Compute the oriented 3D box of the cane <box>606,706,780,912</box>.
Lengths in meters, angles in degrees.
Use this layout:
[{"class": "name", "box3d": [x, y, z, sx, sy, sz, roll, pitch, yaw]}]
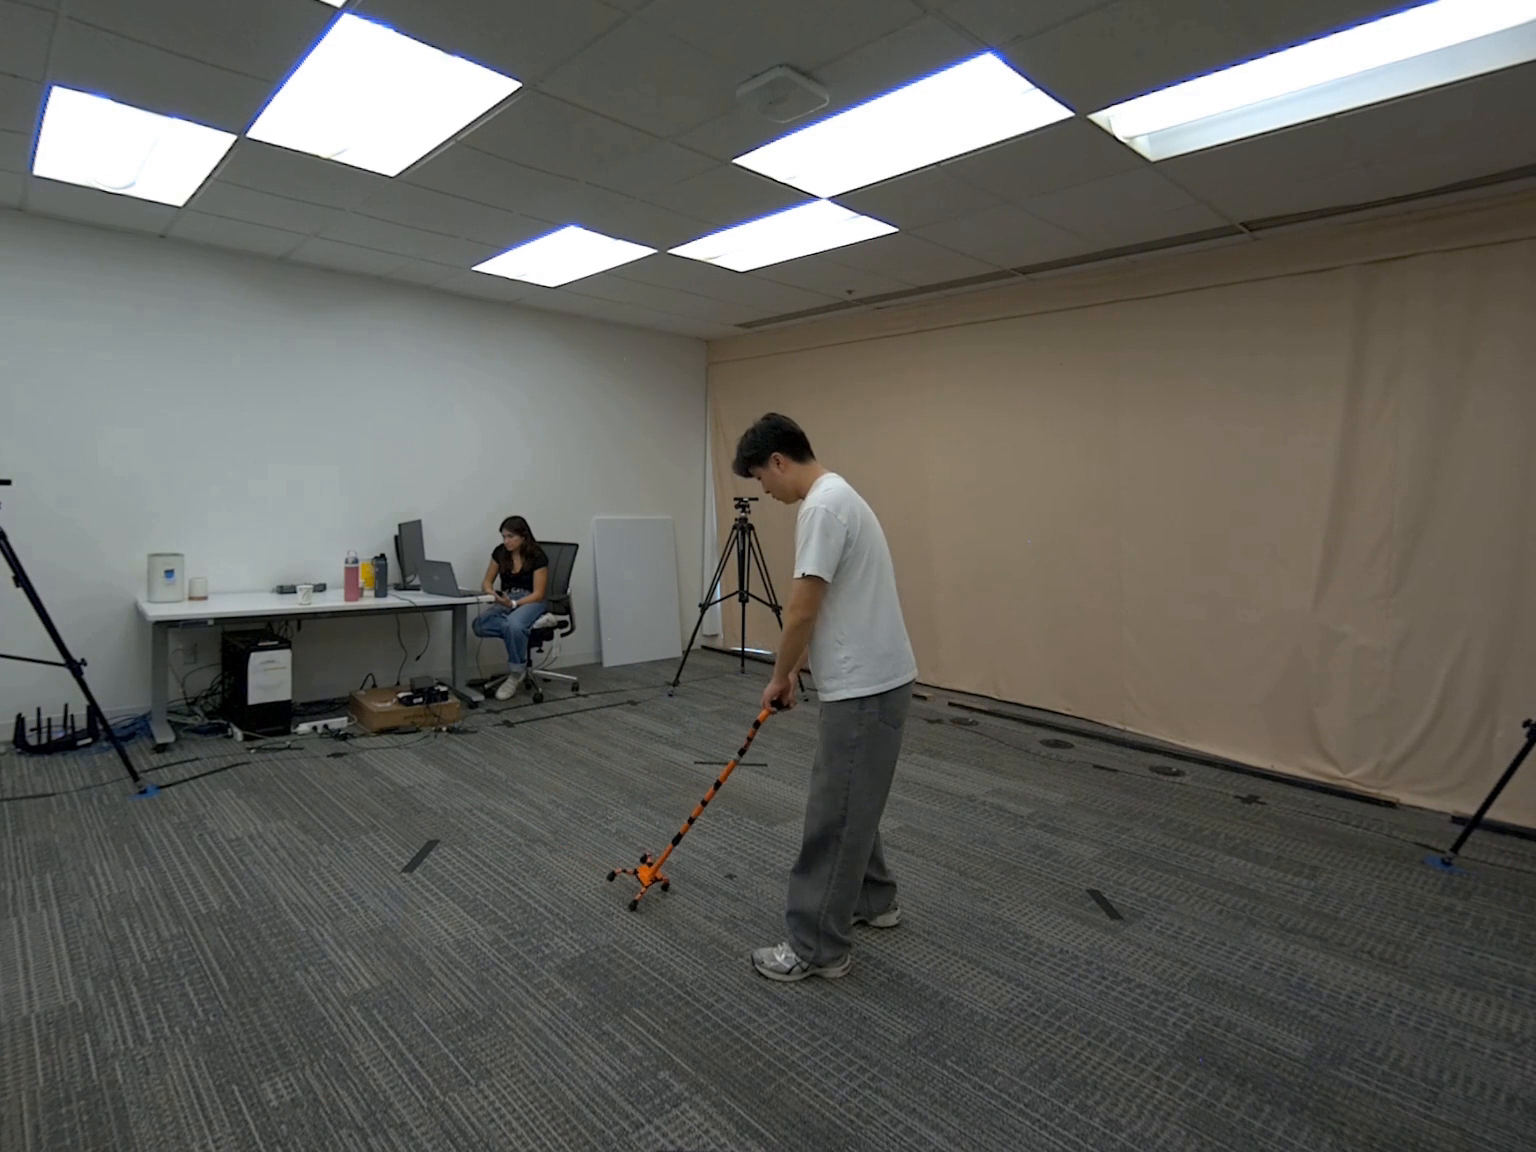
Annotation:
[{"class": "cane", "box3d": [-0.222, 0.731, 2.771, 0.155, 0.905, 0.202, 43, 23, 21]}]
